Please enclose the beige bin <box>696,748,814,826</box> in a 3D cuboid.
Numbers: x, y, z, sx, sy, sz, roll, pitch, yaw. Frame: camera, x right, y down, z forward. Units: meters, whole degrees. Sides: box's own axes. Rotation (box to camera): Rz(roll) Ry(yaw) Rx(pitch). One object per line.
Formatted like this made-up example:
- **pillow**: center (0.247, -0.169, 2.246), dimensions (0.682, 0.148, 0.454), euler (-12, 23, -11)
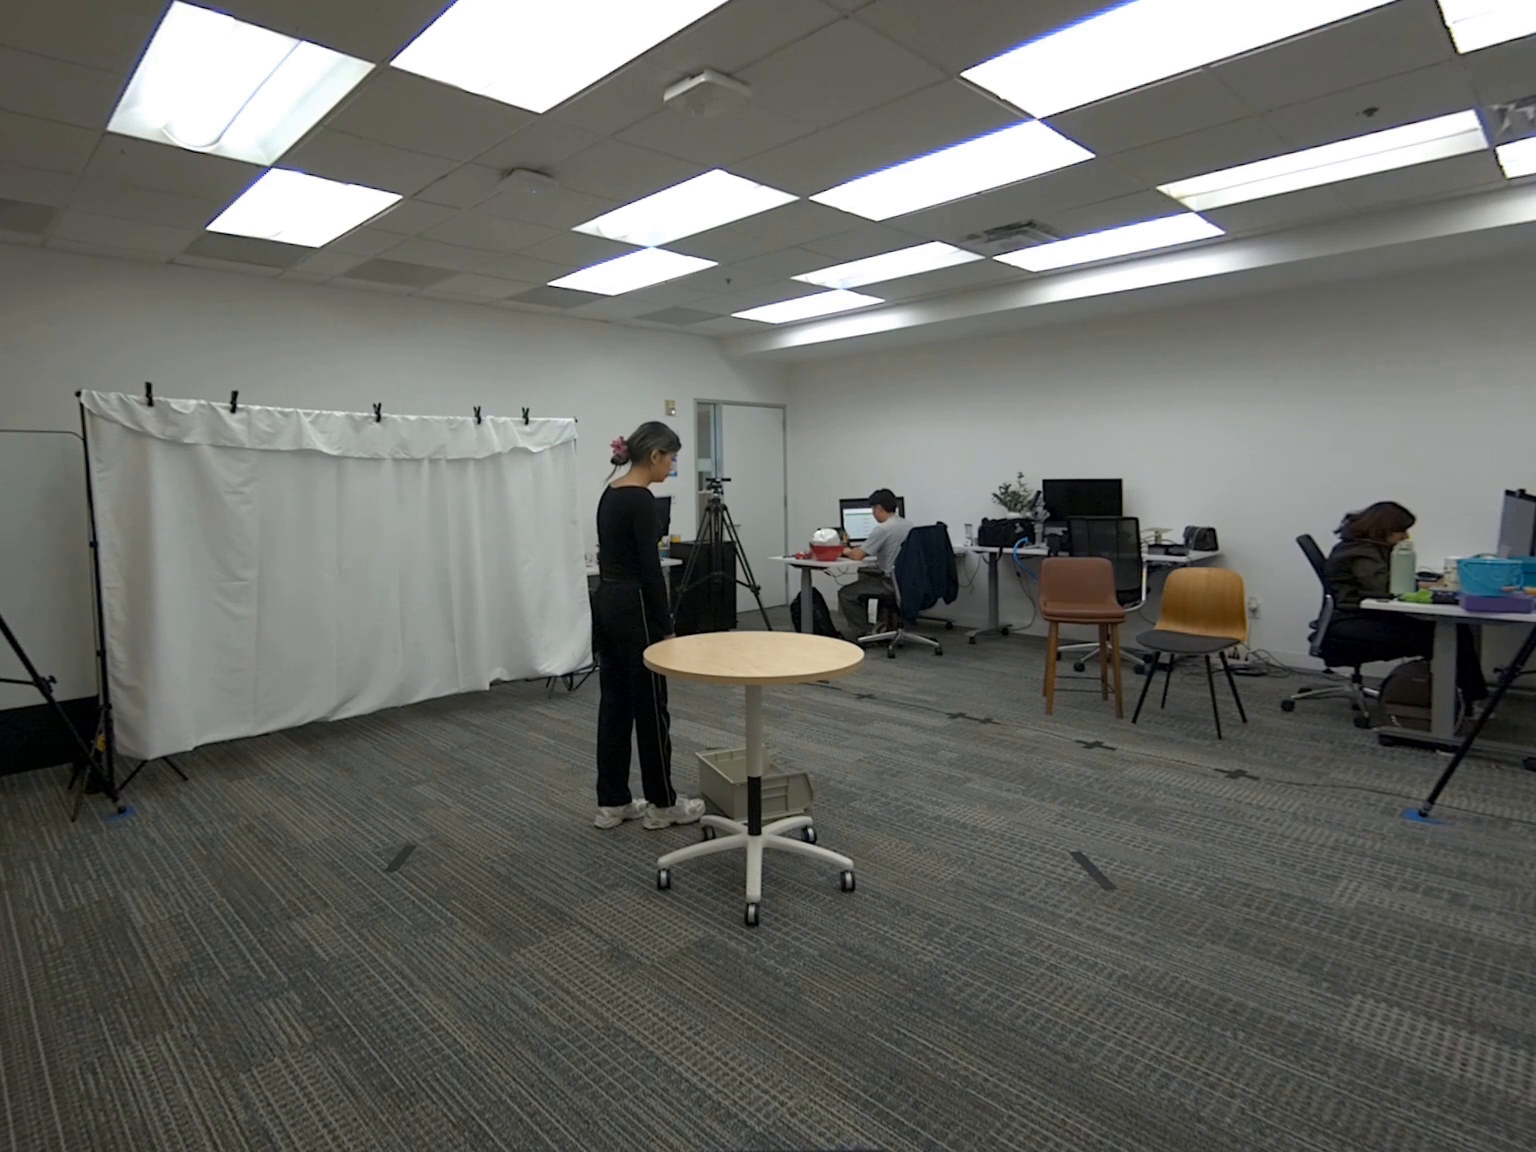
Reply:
- **beige bin**: center (-0.065, 0.886, 3.695), dimensions (0.370, 0.188, 0.433), euler (-4, 7, -25)
